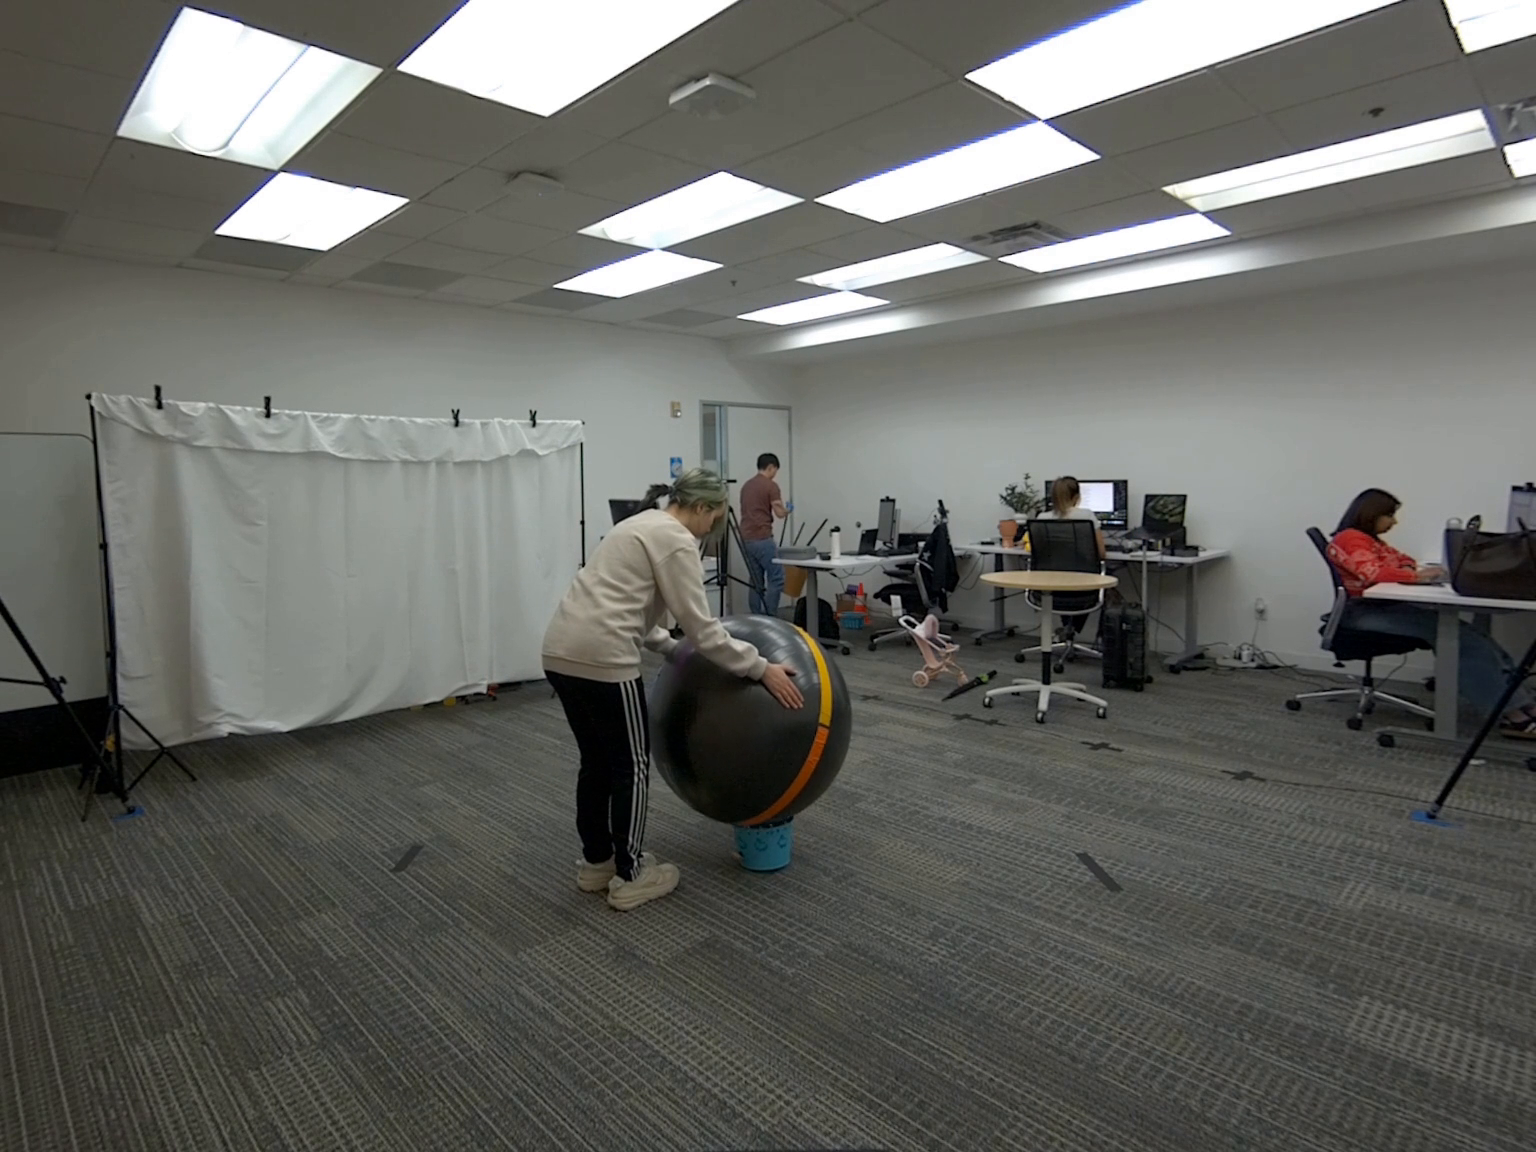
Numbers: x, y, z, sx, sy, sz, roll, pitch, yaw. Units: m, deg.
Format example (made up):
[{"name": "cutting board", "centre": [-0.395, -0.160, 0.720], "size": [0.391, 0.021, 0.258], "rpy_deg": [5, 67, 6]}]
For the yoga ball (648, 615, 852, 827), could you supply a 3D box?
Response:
[{"name": "yoga ball", "centre": [-0.070, 0.526, 3.151], "size": [0.757, 0.755, 0.762], "rpy_deg": [-1, 5, -2]}]
